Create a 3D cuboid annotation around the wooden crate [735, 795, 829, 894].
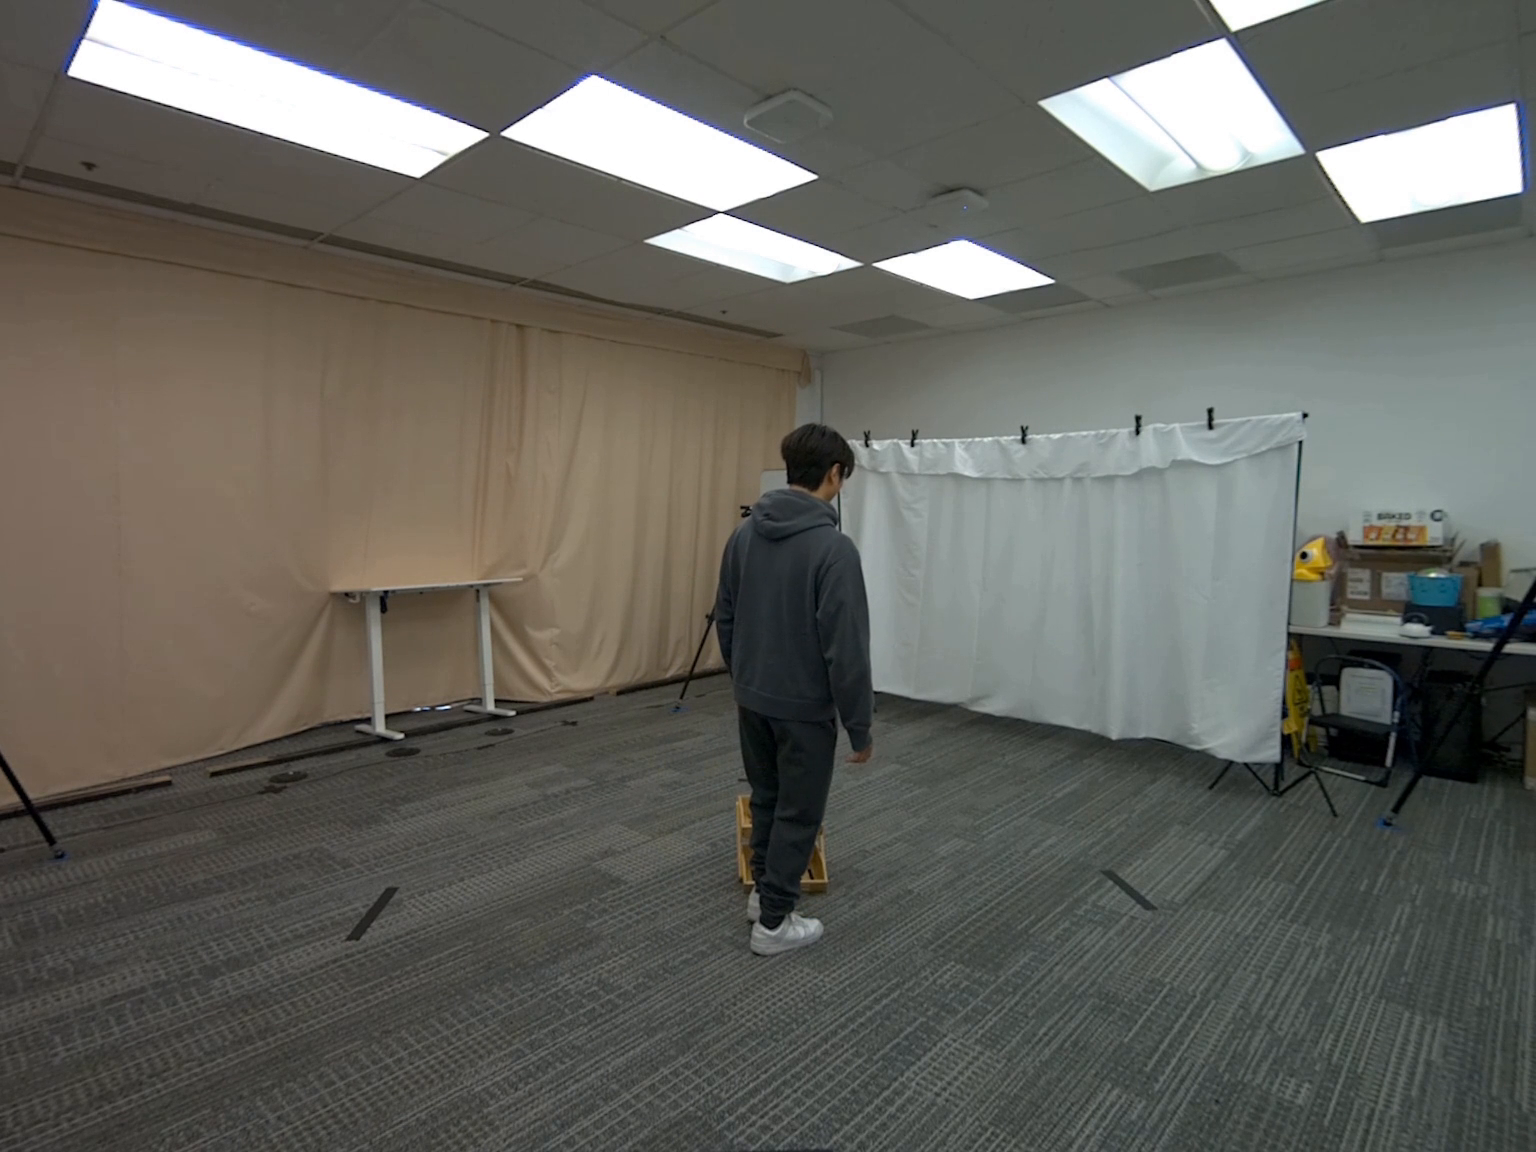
[{"bbox_3d":[0.055,0.999,3.144,0.323,0.273,0.304,0,4,-4],"label":"wooden crate"}]
